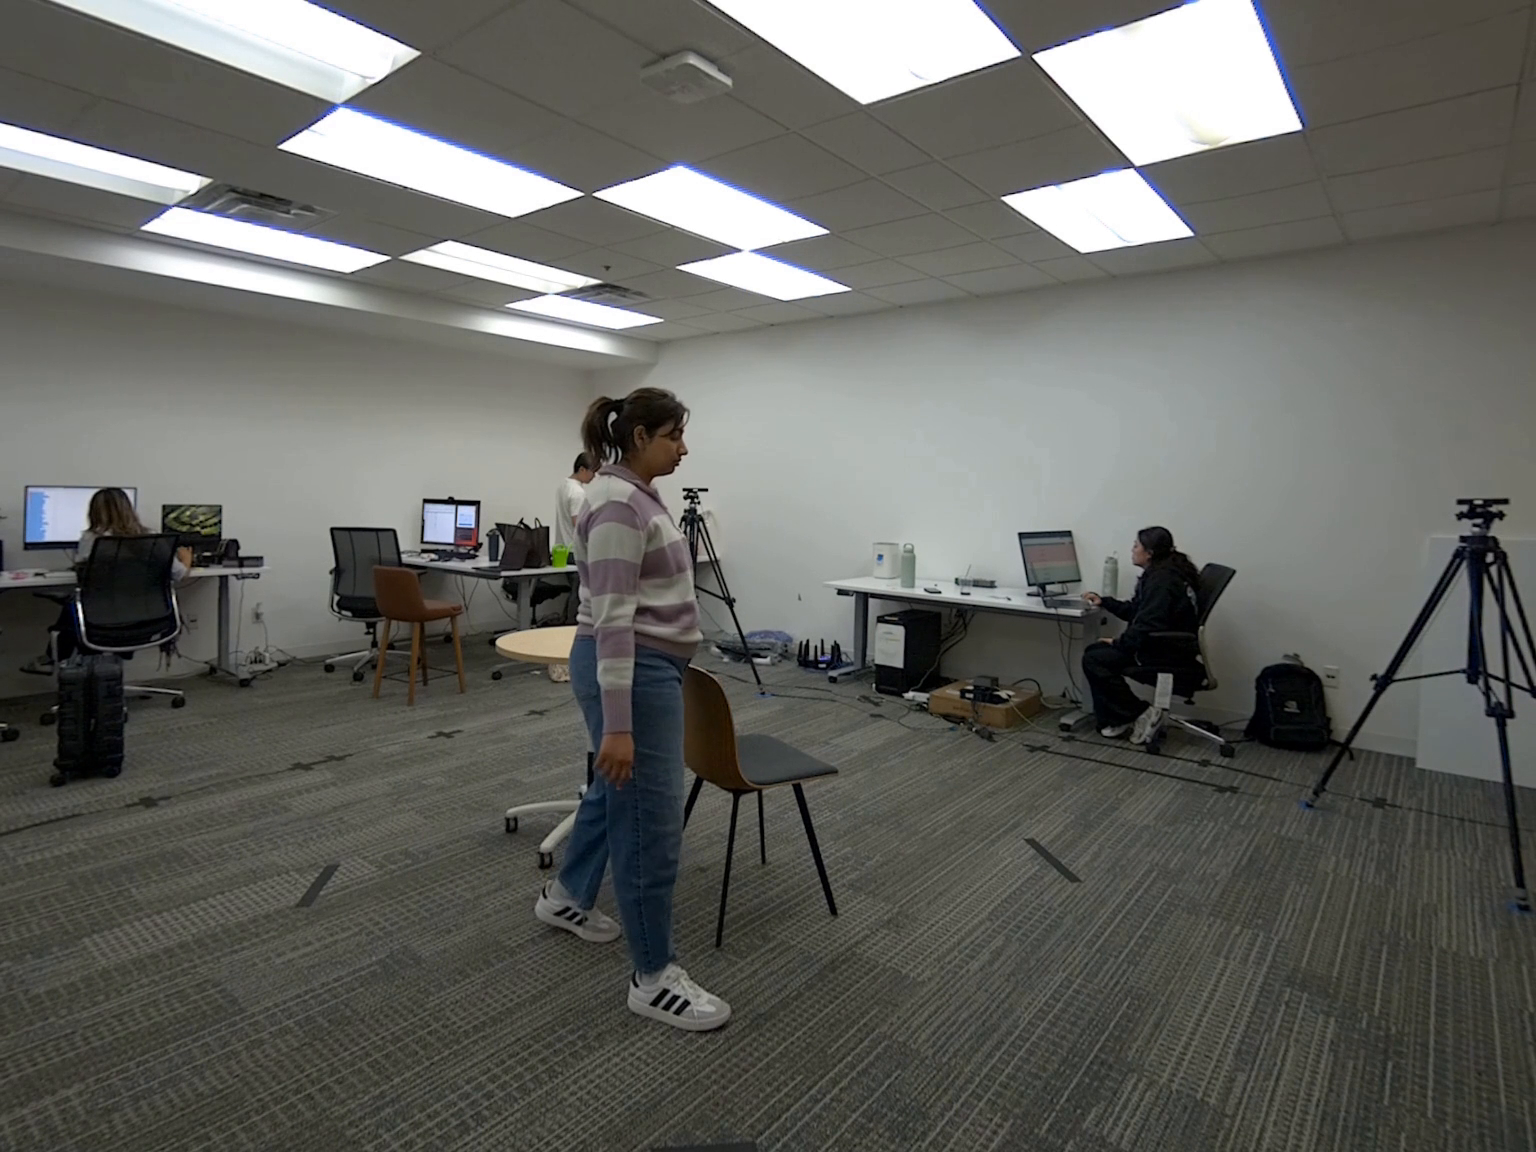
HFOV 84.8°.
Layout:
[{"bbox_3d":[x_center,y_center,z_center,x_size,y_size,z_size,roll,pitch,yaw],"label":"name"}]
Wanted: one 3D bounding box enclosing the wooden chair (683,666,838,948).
[{"bbox_3d":[-0.073,0.670,2.852,0.510,0.873,0.493,-5,6,-31],"label":"wooden chair"}]
